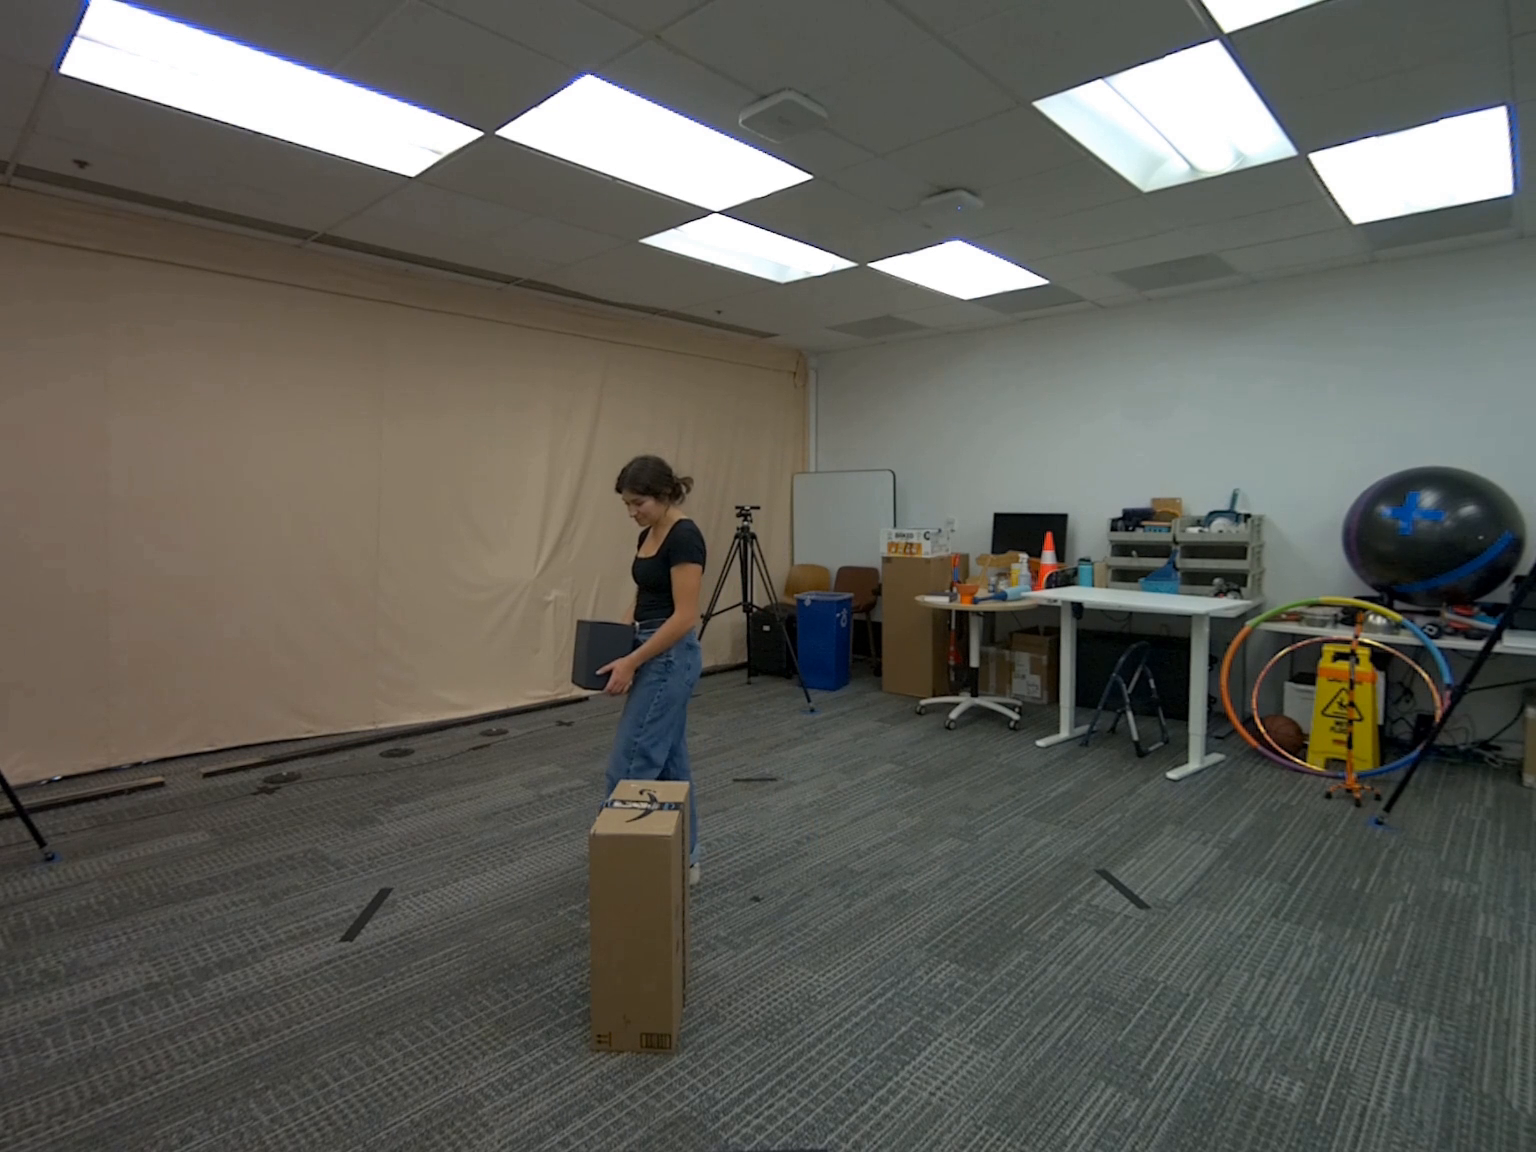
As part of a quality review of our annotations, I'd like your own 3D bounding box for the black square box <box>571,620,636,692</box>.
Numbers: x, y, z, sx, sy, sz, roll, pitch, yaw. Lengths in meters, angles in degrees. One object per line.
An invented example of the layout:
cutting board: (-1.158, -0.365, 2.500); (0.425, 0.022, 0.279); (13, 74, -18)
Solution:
black square box: (-0.587, 0.276, 2.970); (0.152, 0.228, 0.222); (5, -2, -25)
